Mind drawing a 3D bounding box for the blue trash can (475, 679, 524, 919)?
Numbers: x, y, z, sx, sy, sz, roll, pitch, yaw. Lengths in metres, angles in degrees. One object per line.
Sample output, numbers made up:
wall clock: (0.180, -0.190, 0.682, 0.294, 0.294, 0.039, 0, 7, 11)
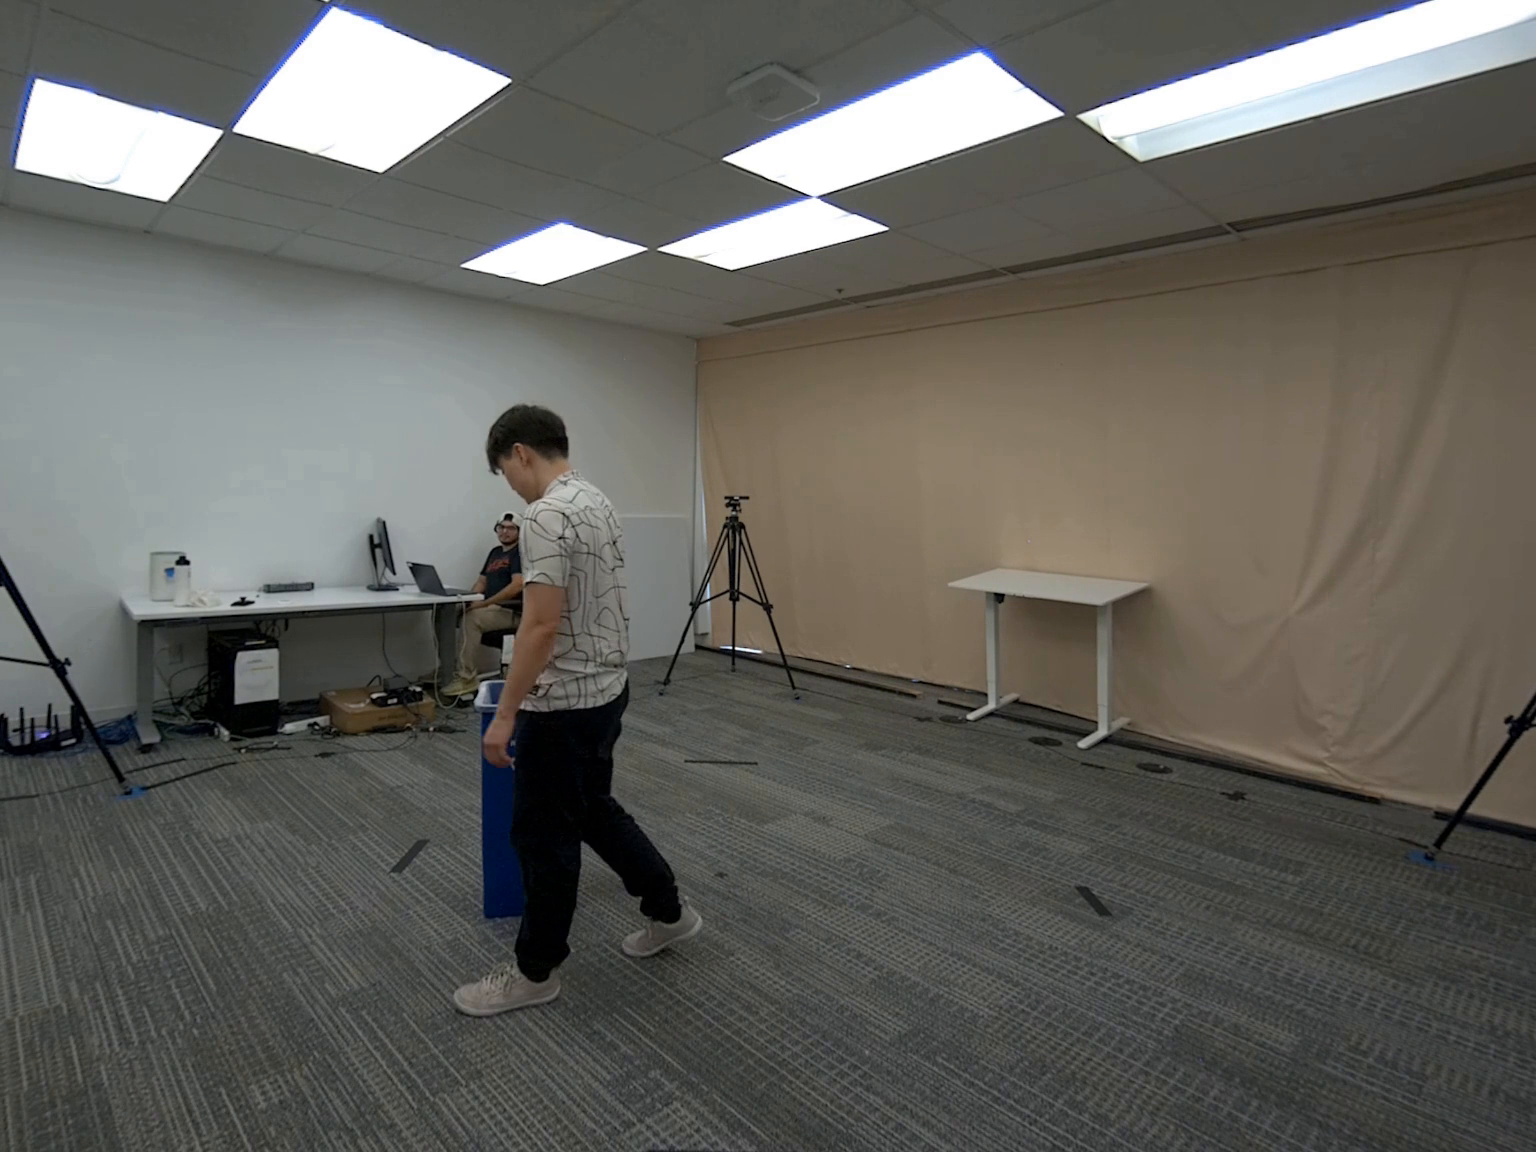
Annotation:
blue trash can: (-0.816, 0.753, 2.906, 0.369, 0.712, 0.384, 1, 4, -16)
